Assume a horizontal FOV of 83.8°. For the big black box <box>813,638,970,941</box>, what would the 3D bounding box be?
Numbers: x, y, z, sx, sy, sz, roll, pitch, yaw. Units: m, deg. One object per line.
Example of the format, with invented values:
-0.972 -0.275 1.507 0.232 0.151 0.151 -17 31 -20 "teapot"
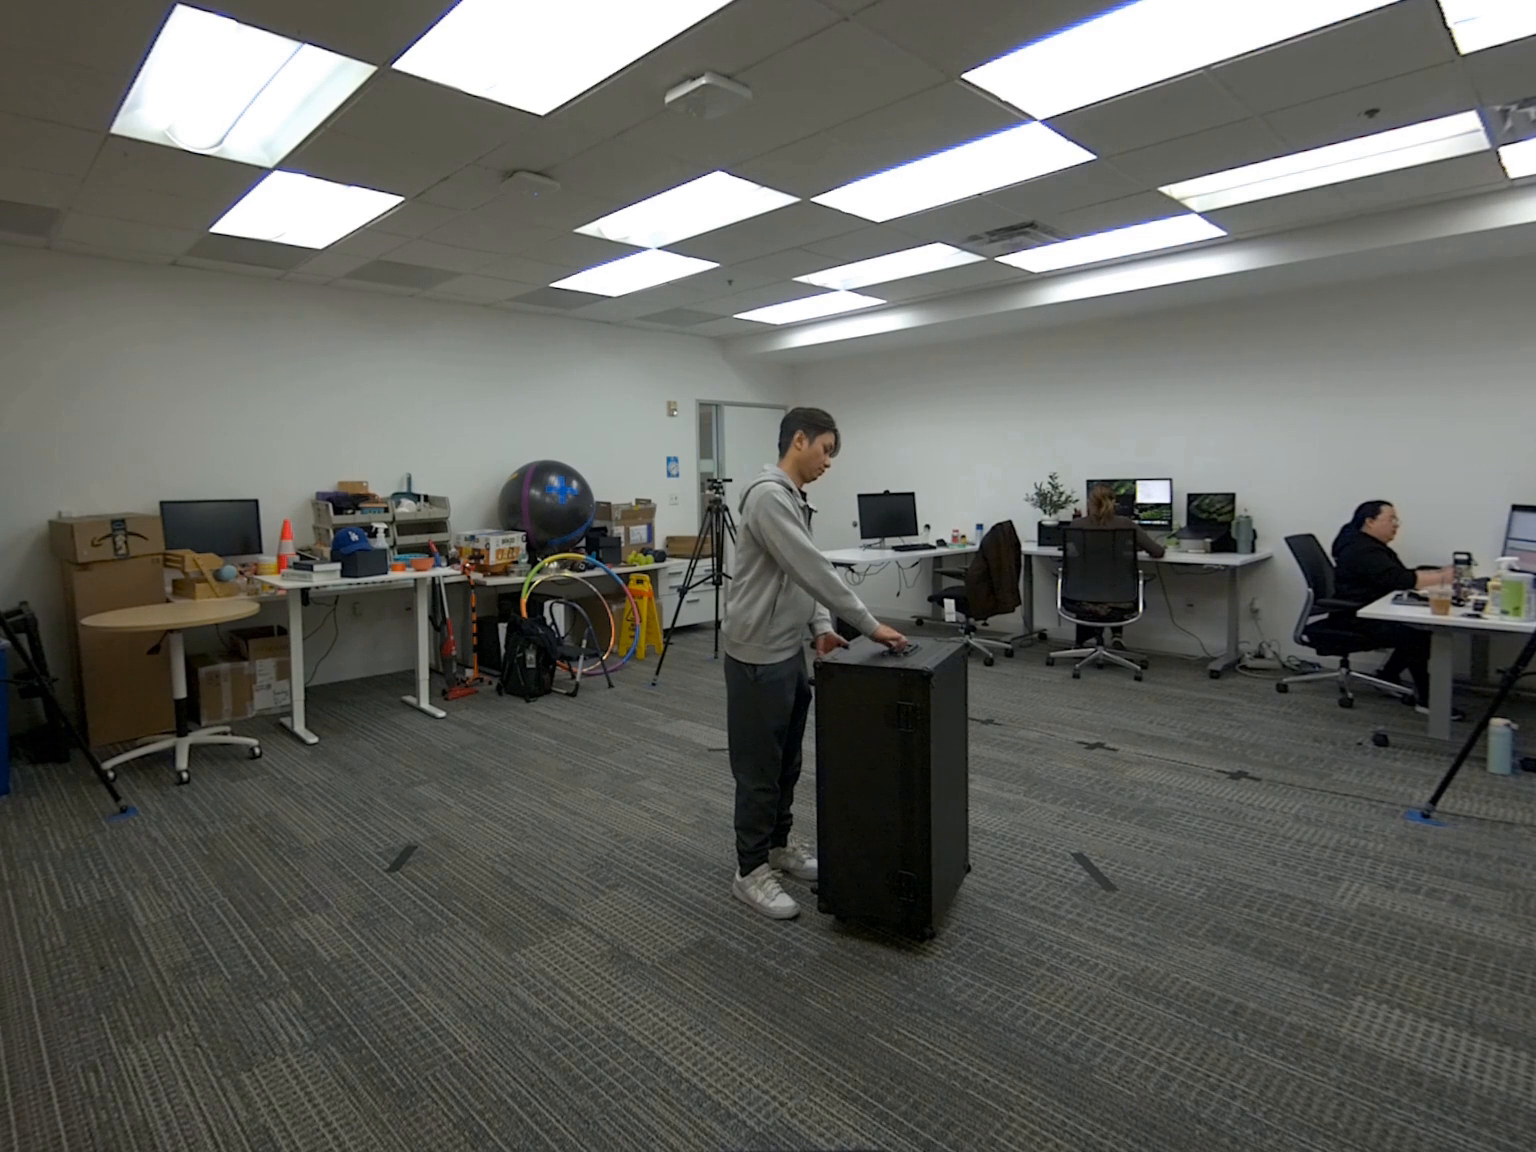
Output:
0.400 0.657 2.711 0.406 0.859 0.511 -1 4 27 "big black box"
